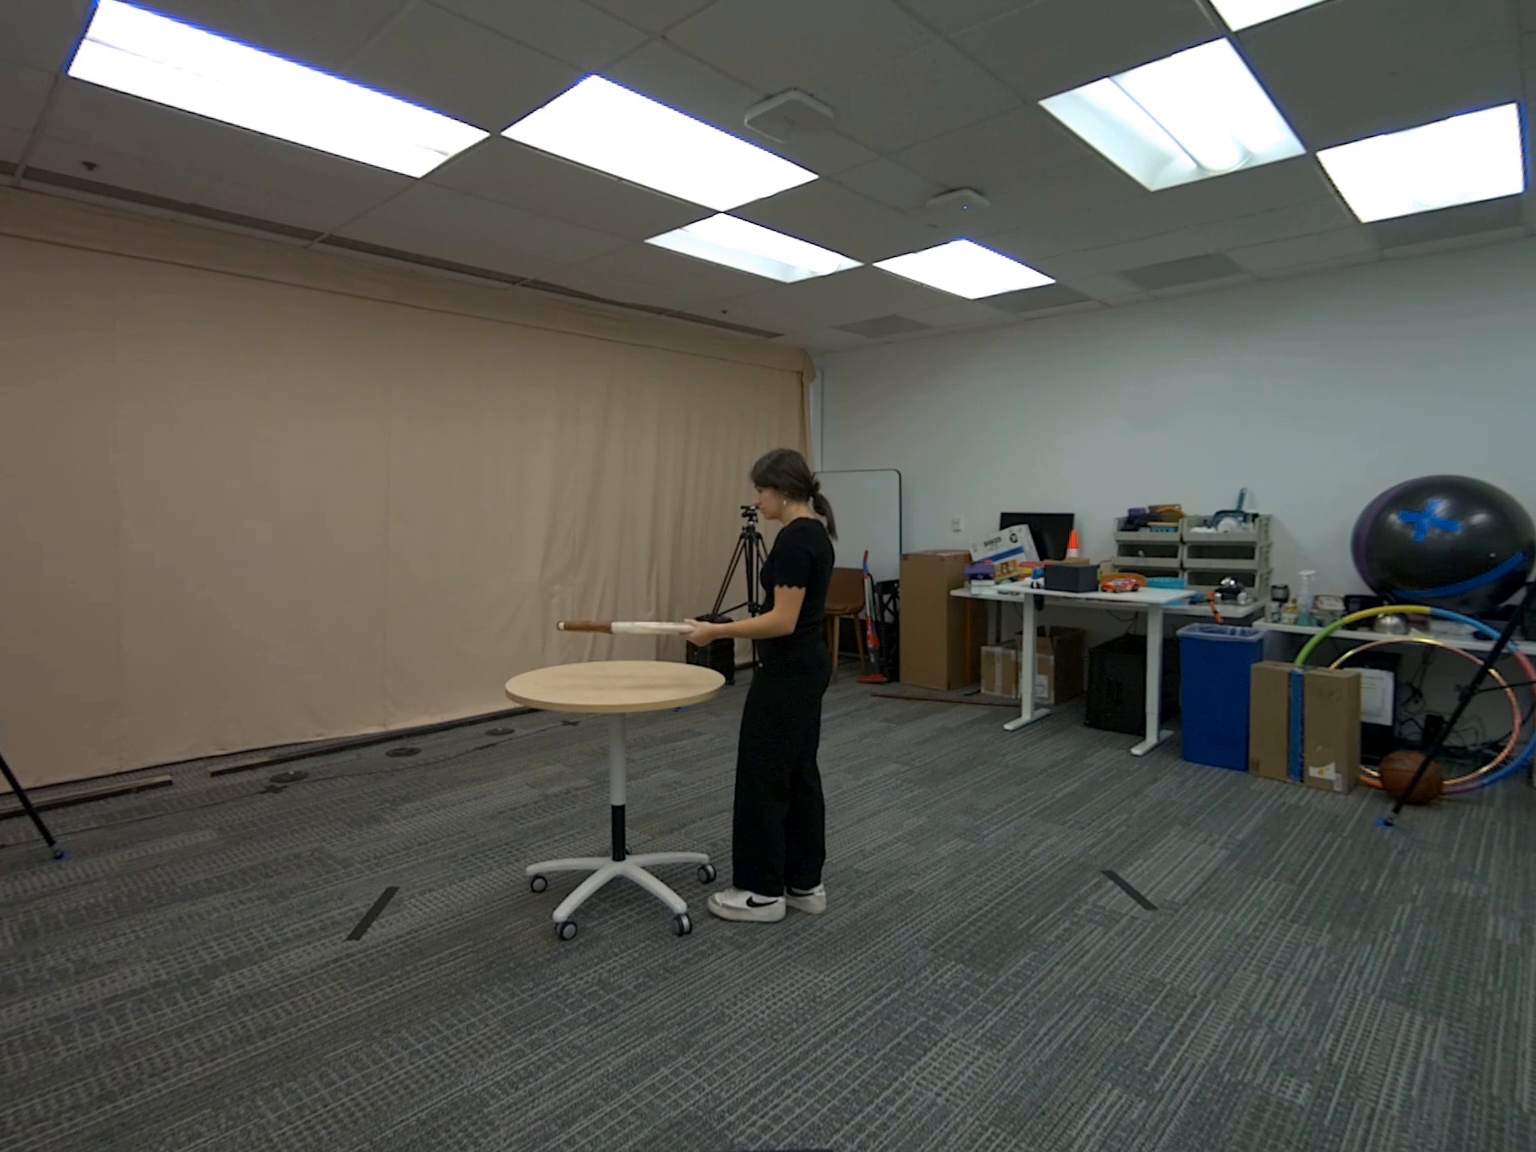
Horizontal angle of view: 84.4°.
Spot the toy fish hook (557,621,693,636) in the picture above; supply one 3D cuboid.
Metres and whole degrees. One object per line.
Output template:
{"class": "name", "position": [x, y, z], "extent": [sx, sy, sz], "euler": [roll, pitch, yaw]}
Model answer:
{"class": "toy fish hook", "position": [-0.480, 0.172, 2.821], "extent": [0.512, 0.048, 0.221], "euler": [0, -10, 9]}
